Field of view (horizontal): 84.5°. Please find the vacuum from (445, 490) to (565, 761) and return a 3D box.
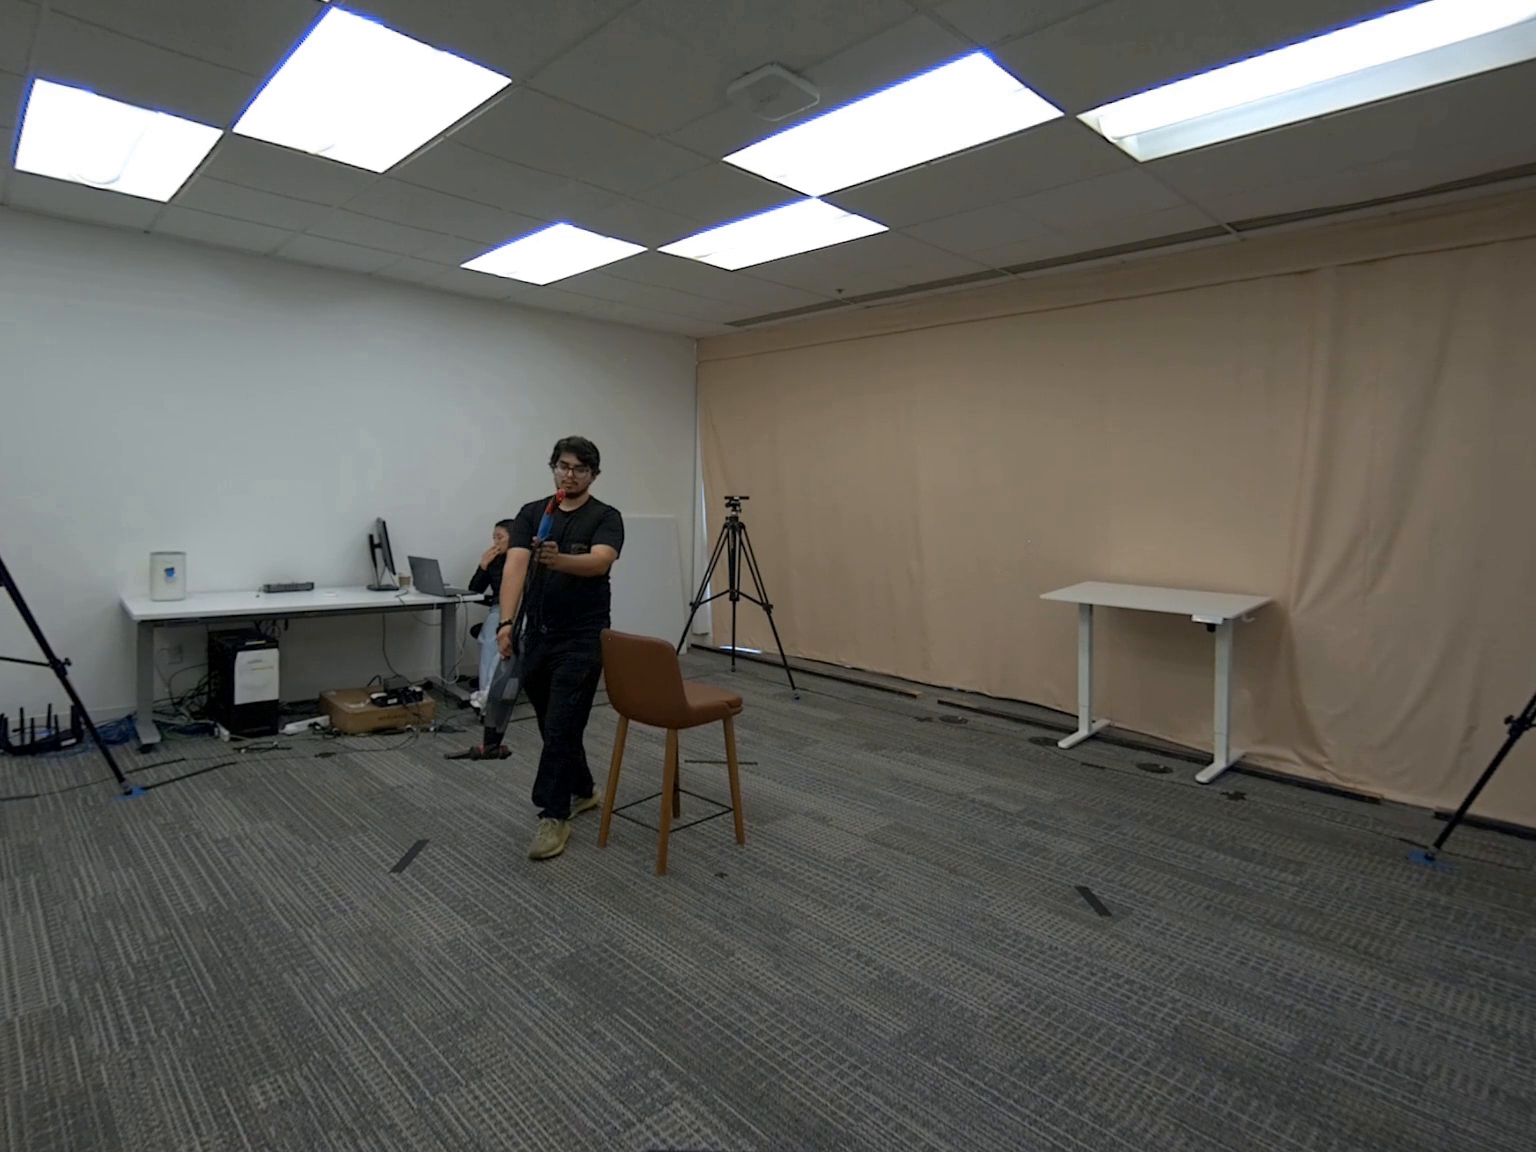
[{"bbox_3d":[-0.899,0.188,3.007,0.247,1.043,0.148,12,15,-26],"label":"vacuum"}]
